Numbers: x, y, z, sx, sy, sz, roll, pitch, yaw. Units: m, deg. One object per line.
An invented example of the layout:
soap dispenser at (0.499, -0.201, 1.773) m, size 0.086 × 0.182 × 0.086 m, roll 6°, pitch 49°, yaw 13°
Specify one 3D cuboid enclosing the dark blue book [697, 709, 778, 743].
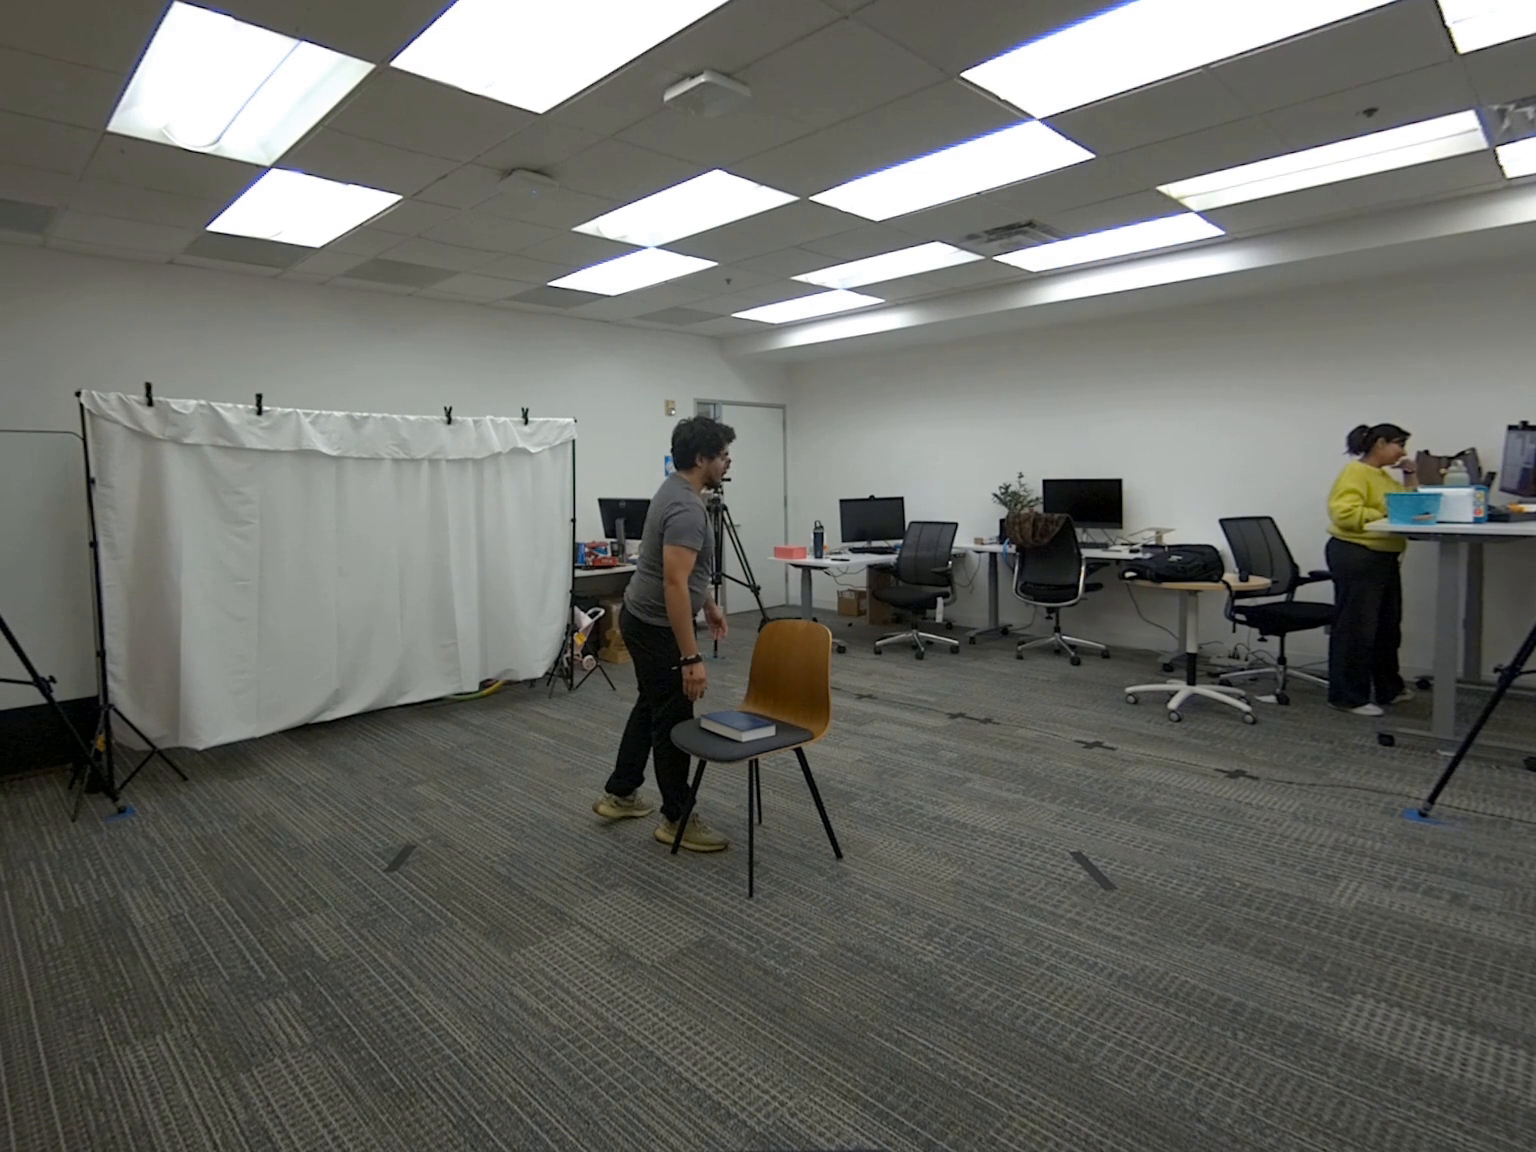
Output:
dark blue book at (-0.114, 0.535, 3.086) m, size 0.159 × 0.045 × 0.253 m, roll -3°, pitch 6°, yaw -42°
